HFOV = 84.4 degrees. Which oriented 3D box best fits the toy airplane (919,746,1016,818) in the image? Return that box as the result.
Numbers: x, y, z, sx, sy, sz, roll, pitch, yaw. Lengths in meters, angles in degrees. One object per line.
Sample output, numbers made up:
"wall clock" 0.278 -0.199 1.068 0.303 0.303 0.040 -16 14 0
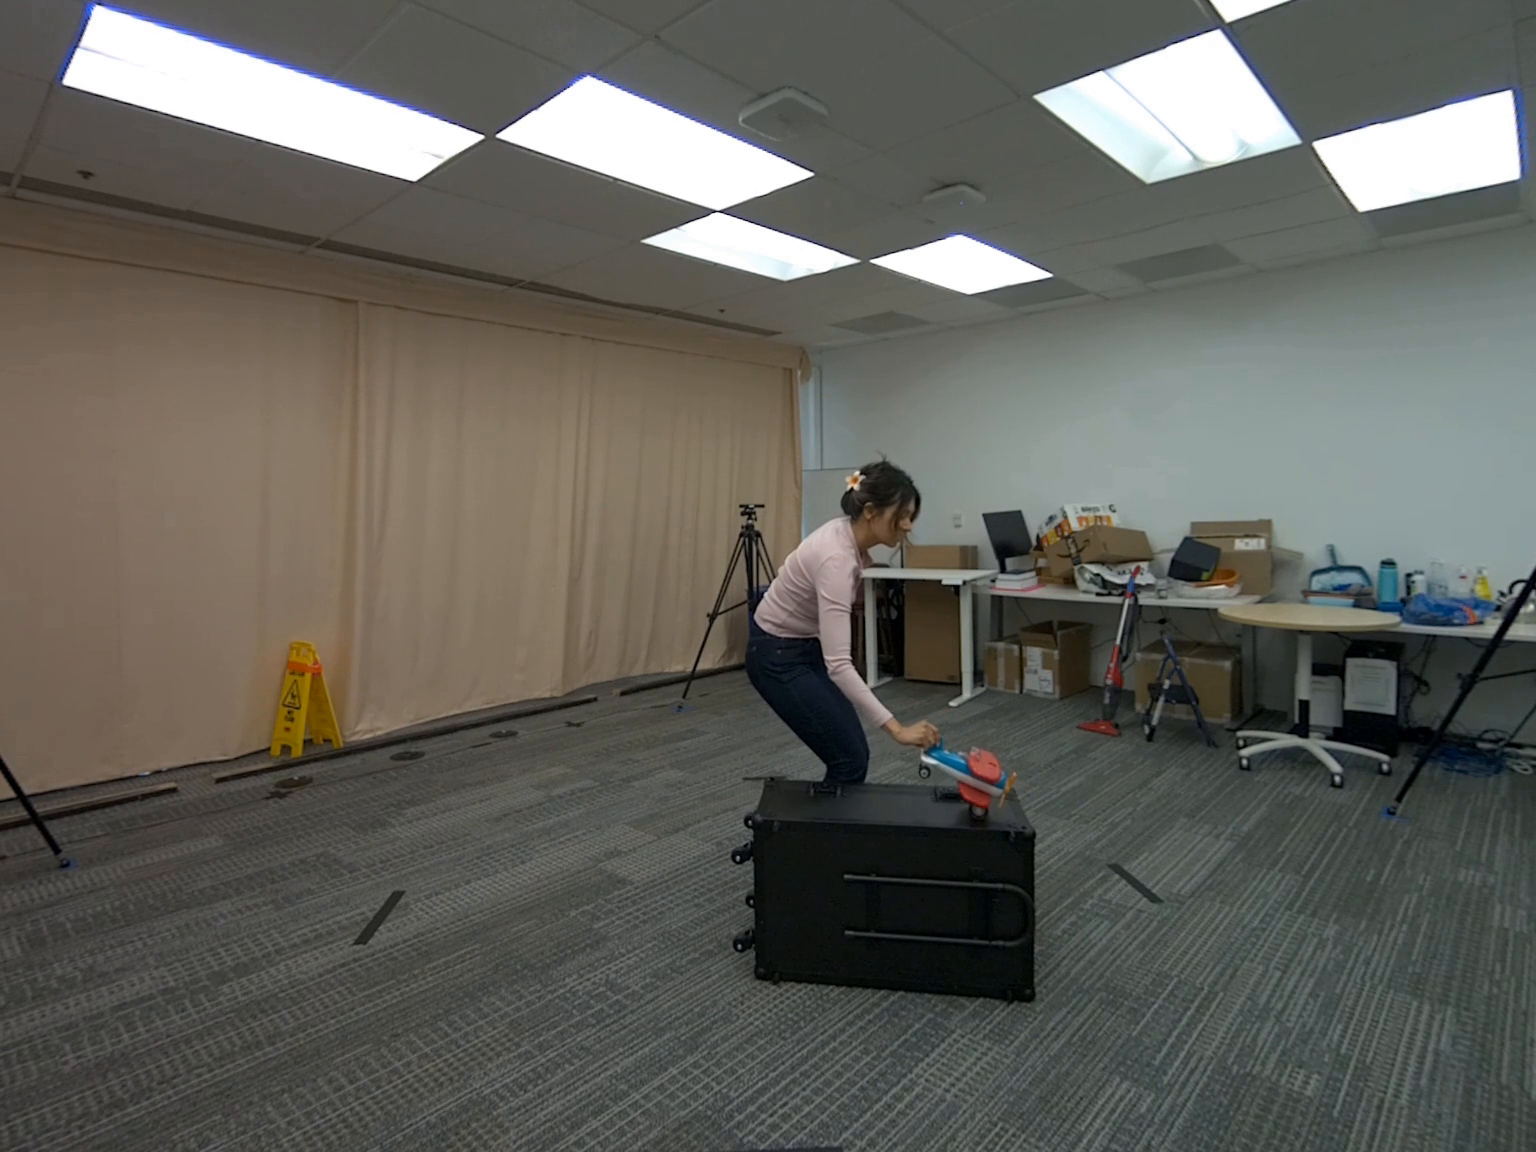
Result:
"toy airplane" 0.578 0.580 2.435 0.254 0.156 0.256 30 12 -19
